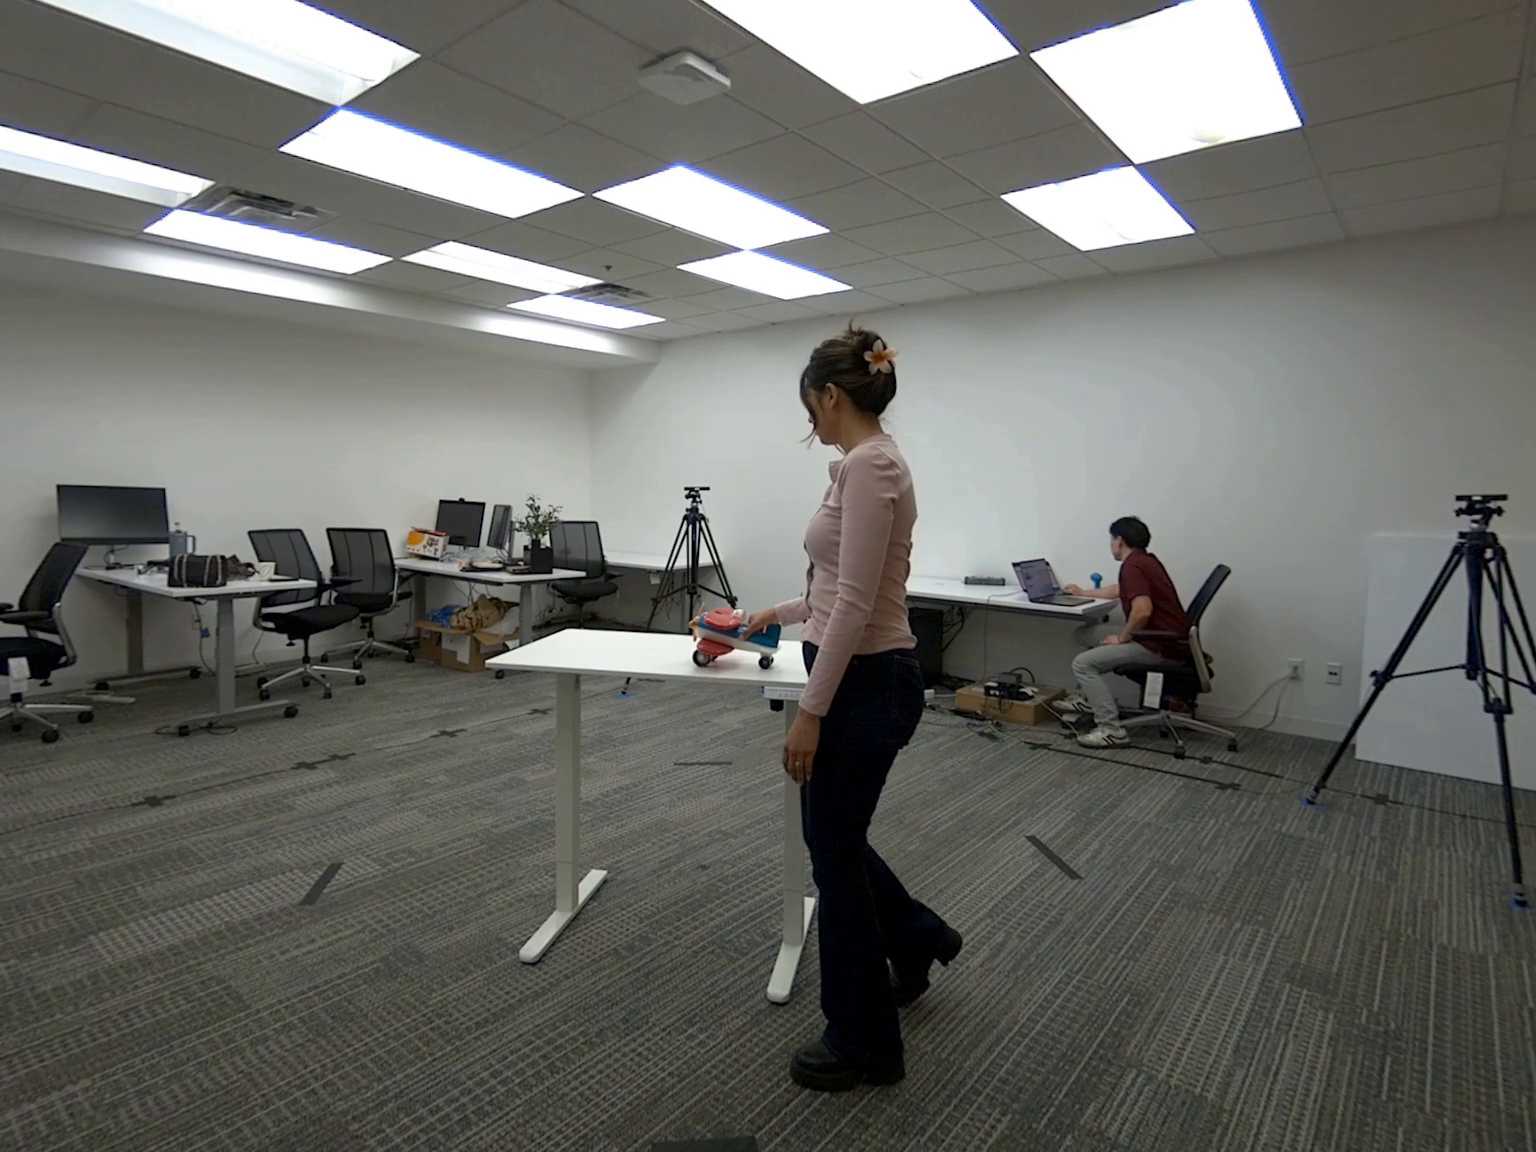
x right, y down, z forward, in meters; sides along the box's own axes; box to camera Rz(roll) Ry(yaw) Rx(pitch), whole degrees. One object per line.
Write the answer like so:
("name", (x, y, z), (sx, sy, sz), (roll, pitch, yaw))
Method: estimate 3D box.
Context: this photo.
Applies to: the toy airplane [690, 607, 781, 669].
("toy airplane", (-0.103, 0.177, 2.452), (0.255, 0.156, 0.256), (-1, 6, -17))
